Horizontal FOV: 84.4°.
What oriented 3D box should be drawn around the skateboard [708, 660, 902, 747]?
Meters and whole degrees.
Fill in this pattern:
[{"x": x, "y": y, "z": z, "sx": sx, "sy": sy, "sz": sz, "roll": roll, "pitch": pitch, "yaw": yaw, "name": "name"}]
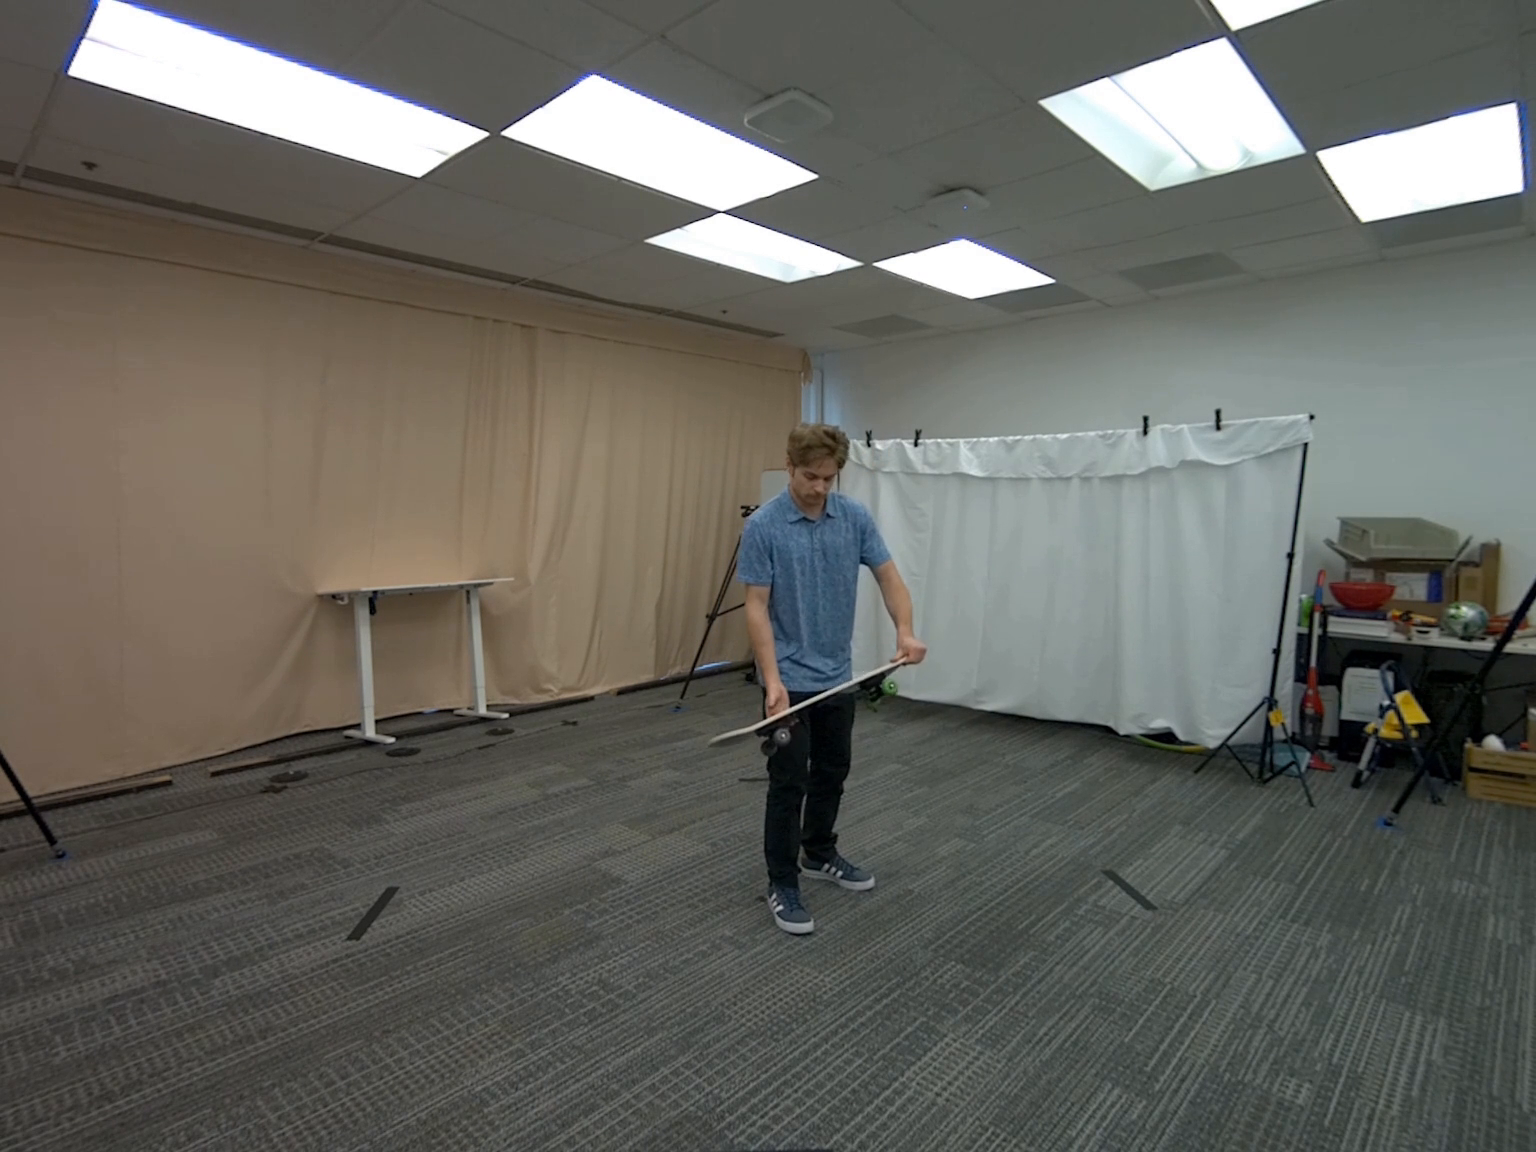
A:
[{"x": 0.177, "y": 0.422, "z": 2.653, "sx": 0.773, "sy": 0.112, "sz": 0.193, "roll": -20, "pitch": -18, "yaw": -21, "name": "skateboard"}]
